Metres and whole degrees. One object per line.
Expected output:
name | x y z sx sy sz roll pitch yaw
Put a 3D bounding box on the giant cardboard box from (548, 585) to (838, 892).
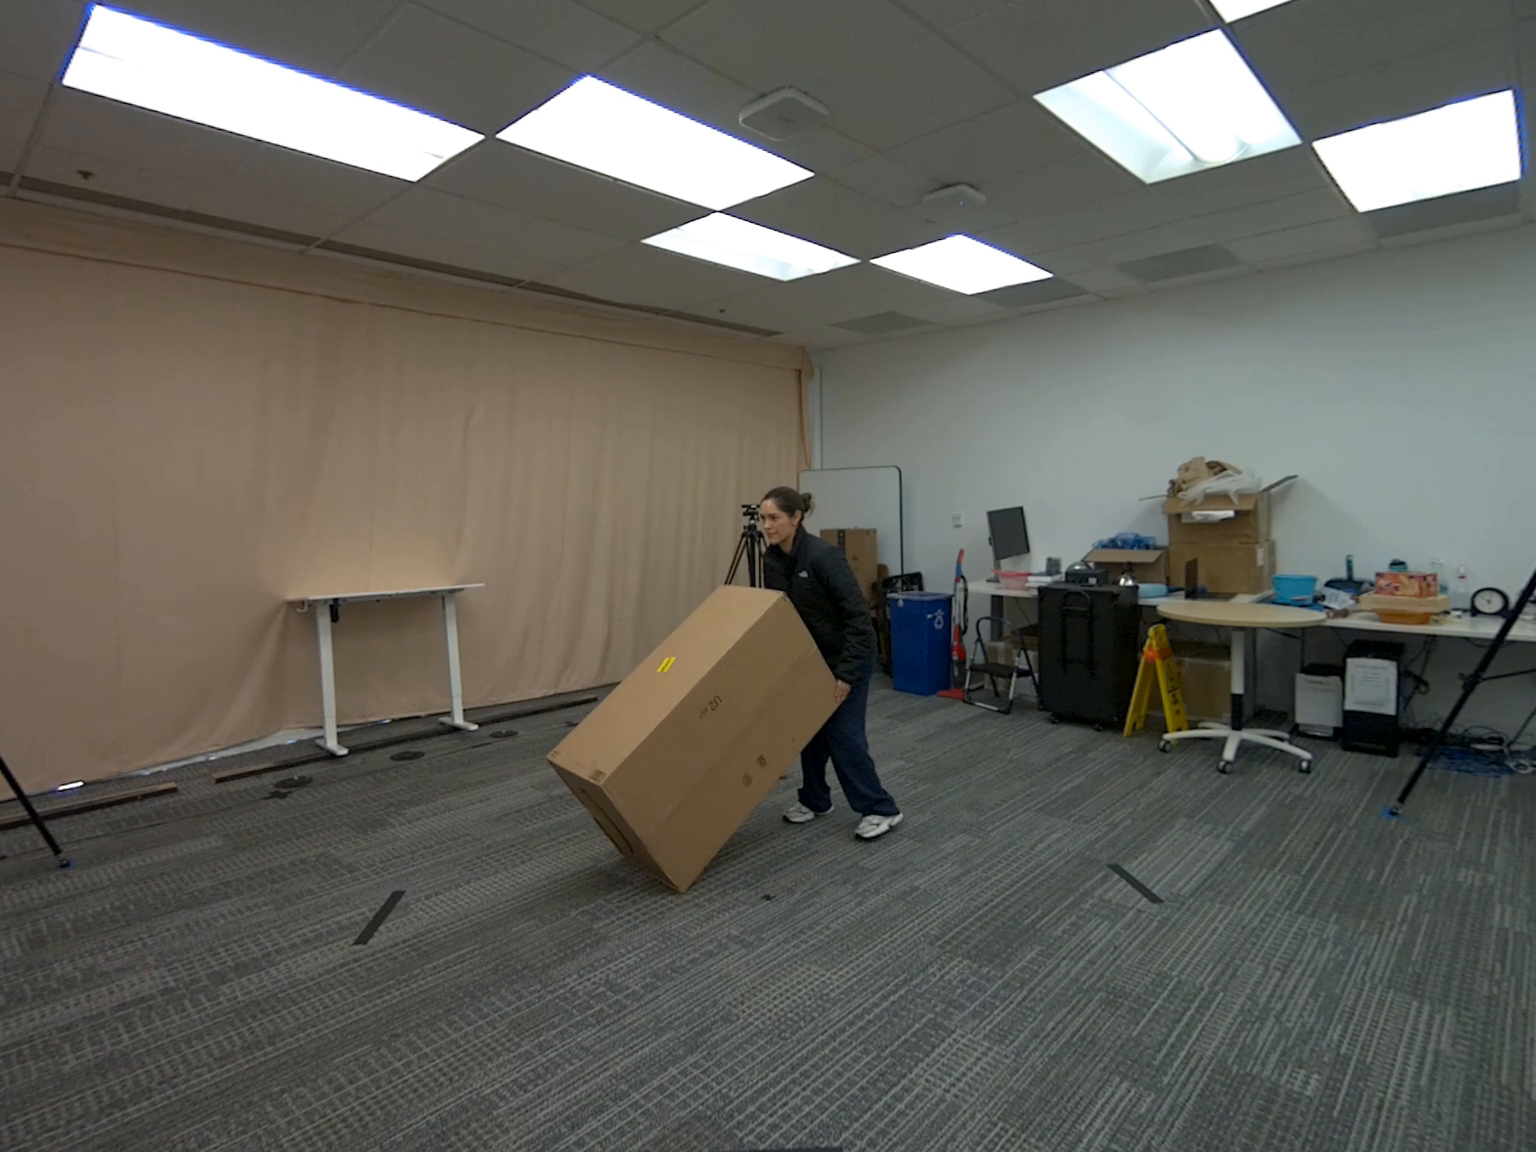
giant cardboard box | -0.242 0.587 3.313 1.019 0.571 0.461 -45 26 -28
